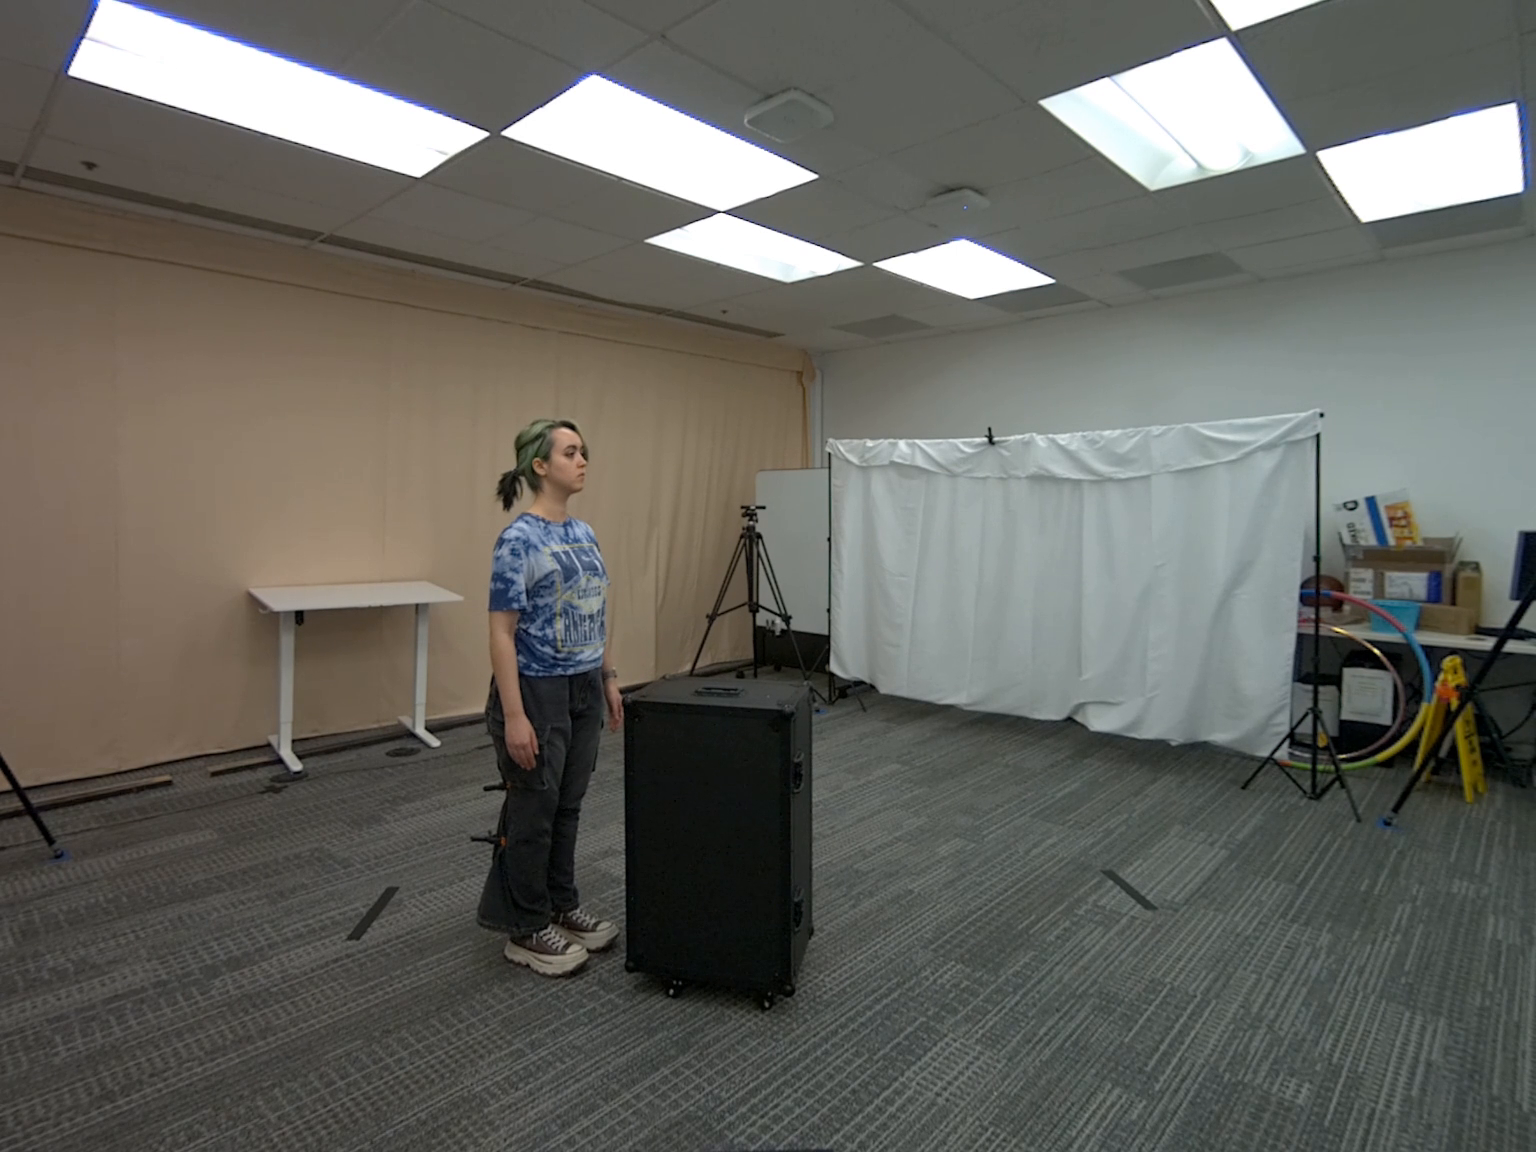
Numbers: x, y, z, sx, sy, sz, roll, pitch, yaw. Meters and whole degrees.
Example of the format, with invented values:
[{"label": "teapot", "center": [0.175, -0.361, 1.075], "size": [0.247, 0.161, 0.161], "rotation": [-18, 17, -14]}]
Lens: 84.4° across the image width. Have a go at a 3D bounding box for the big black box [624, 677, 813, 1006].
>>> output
[{"label": "big black box", "center": [-0.134, 0.766, 2.485], "size": [0.530, 0.860, 0.390], "rotation": [0, 2, 15]}]
